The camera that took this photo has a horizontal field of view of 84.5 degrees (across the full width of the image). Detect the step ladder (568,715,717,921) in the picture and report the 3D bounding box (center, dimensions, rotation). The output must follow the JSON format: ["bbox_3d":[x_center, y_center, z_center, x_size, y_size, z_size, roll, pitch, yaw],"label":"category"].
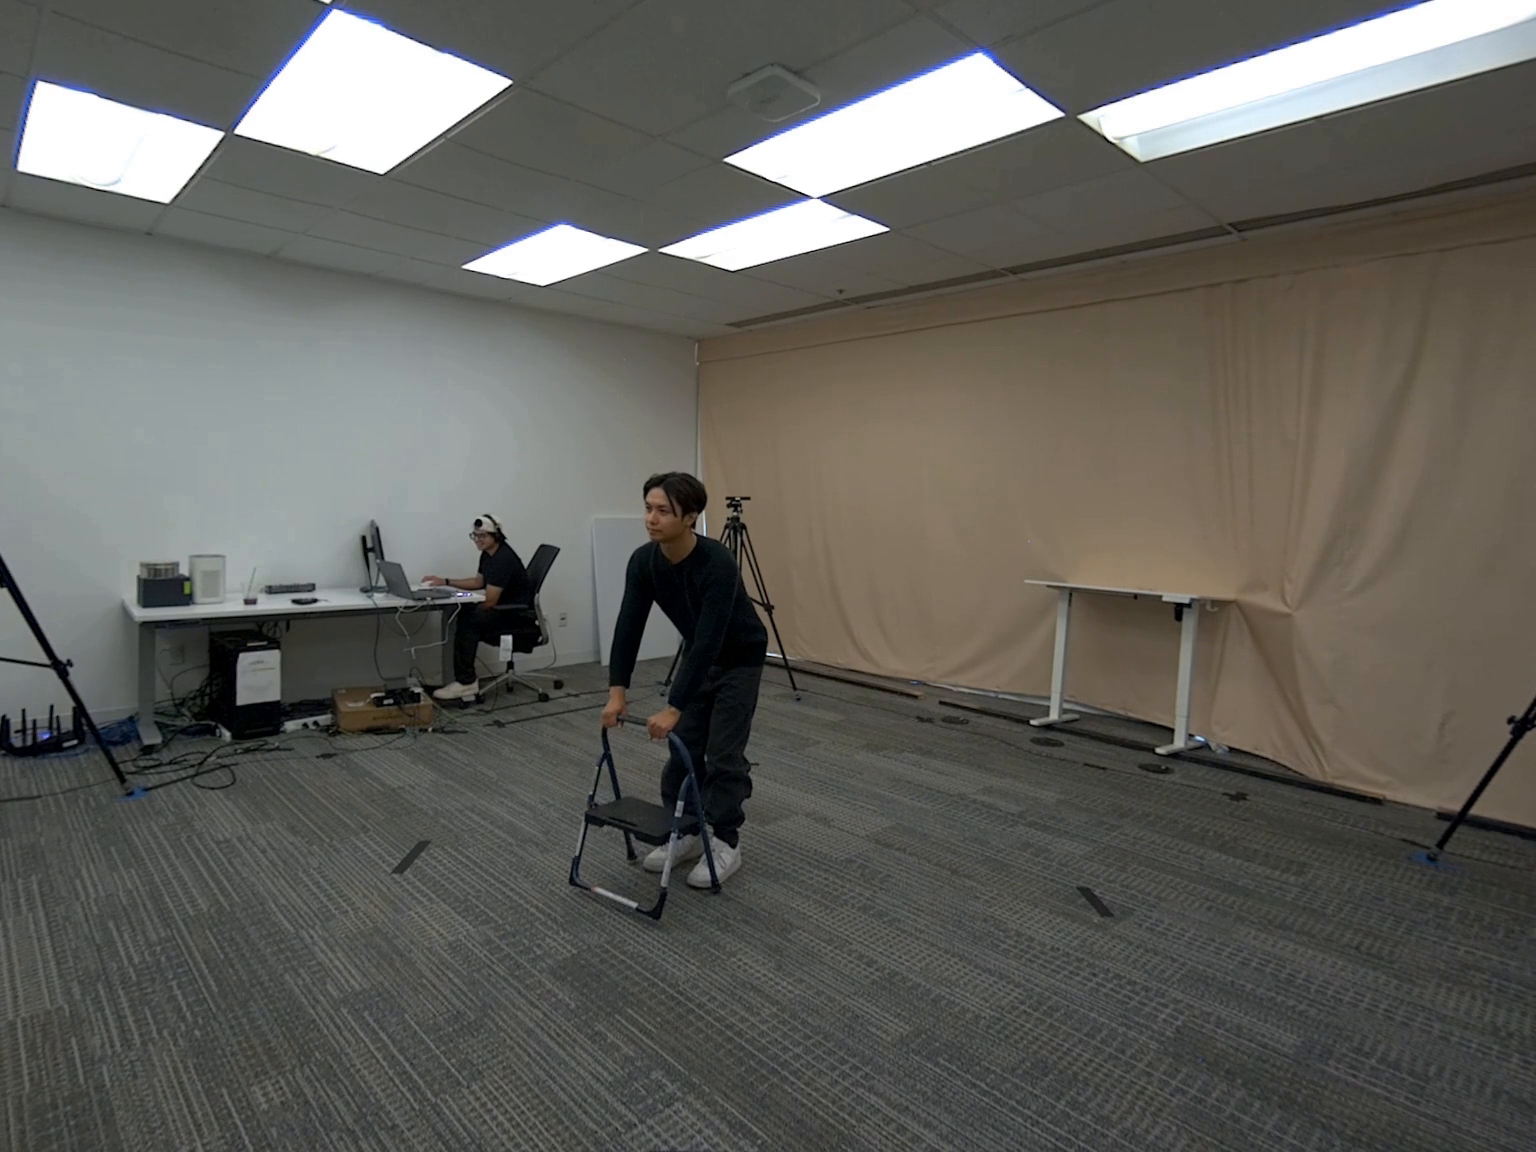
[{"bbox_3d":[-0.430,0.784,2.940,0.441,0.605,0.341,4,2,35],"label":"step ladder"}]
